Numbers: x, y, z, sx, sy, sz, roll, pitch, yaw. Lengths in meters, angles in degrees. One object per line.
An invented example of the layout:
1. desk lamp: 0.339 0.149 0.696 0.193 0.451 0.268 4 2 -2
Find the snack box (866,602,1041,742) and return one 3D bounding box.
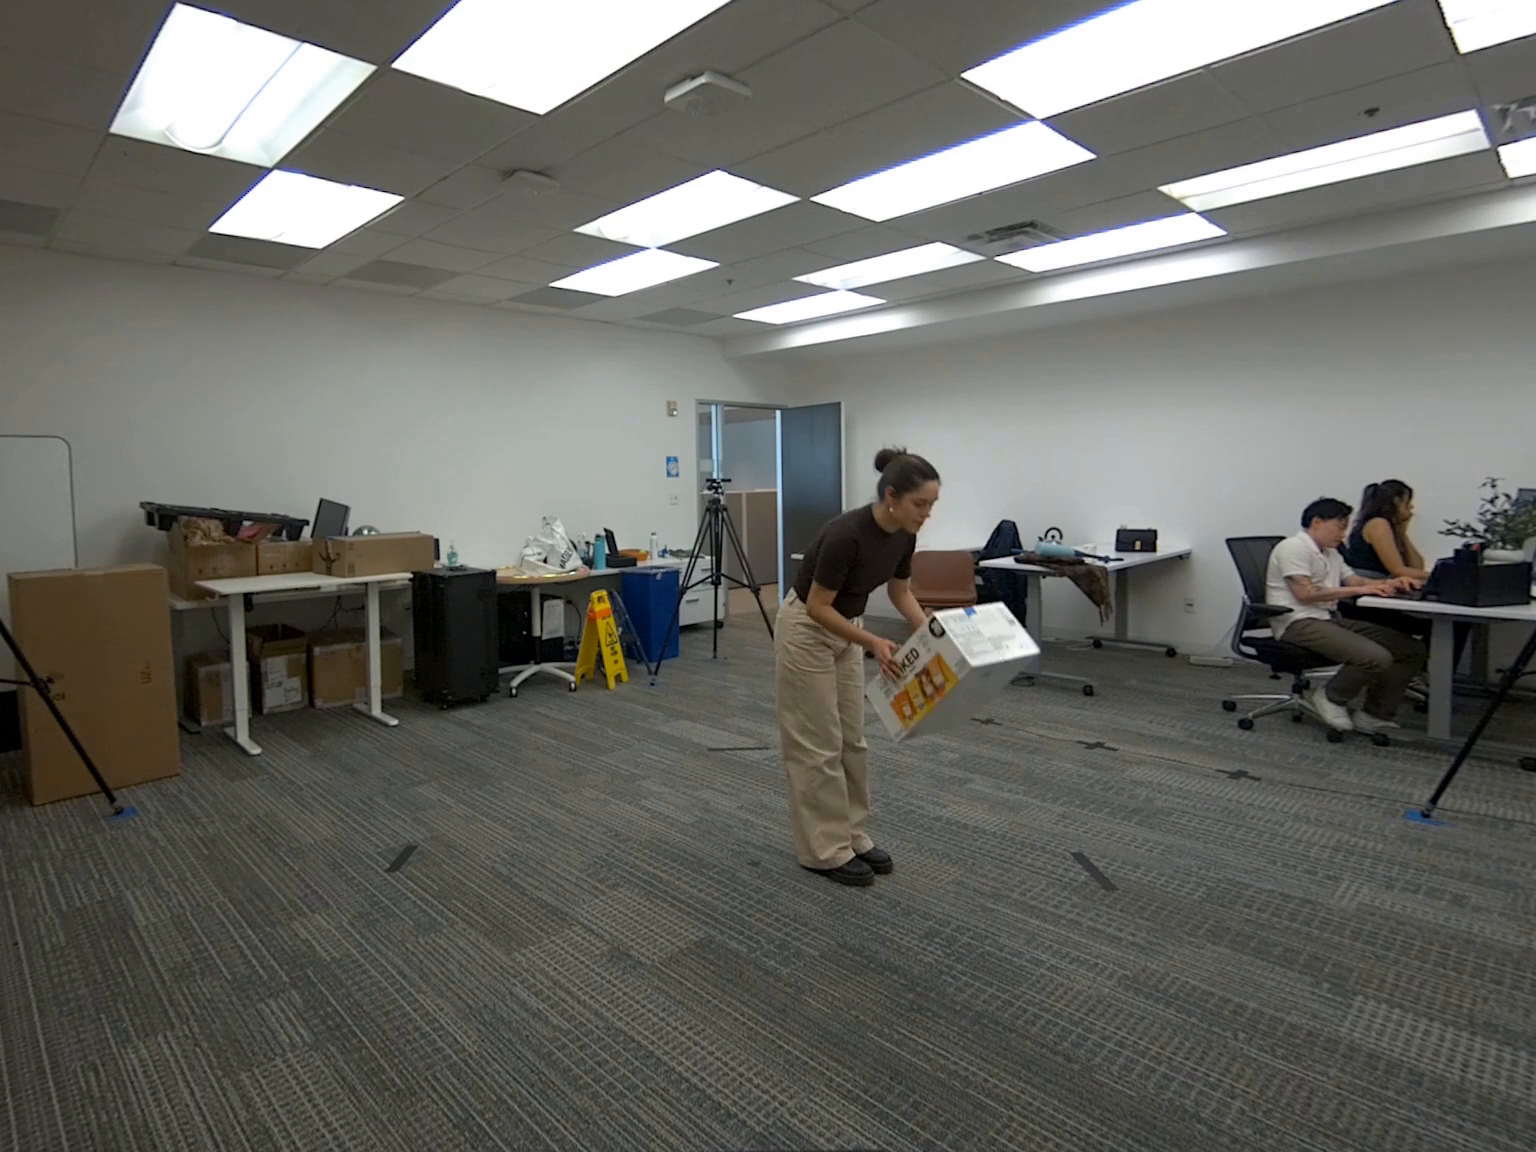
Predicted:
1. snack box: 0.581 0.315 2.702 0.331 0.213 0.402 -5 -39 -38
